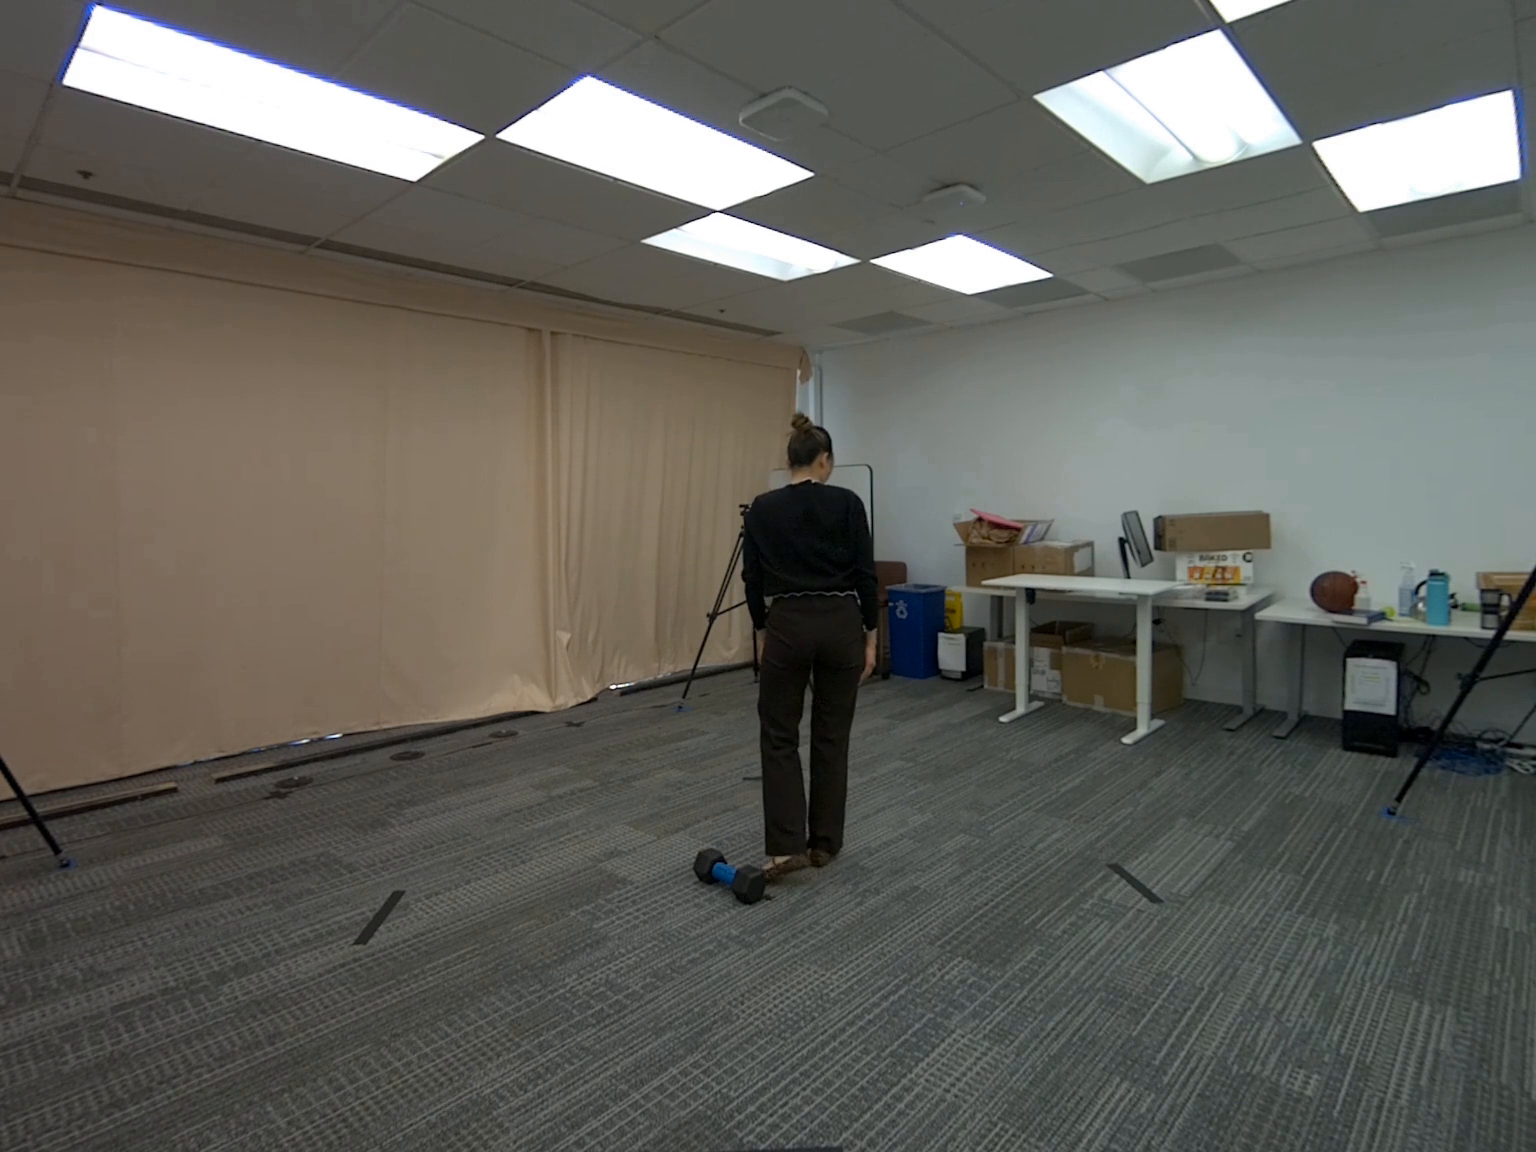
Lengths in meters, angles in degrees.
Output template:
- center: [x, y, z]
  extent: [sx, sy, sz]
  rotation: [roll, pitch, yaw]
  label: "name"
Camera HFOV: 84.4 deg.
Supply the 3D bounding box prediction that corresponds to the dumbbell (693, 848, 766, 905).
- center: [-0.139, 1.082, 3.044]
  extent: [0.119, 0.108, 0.303]
  rotation: [-5, 7, -44]
  label: "dumbbell"
